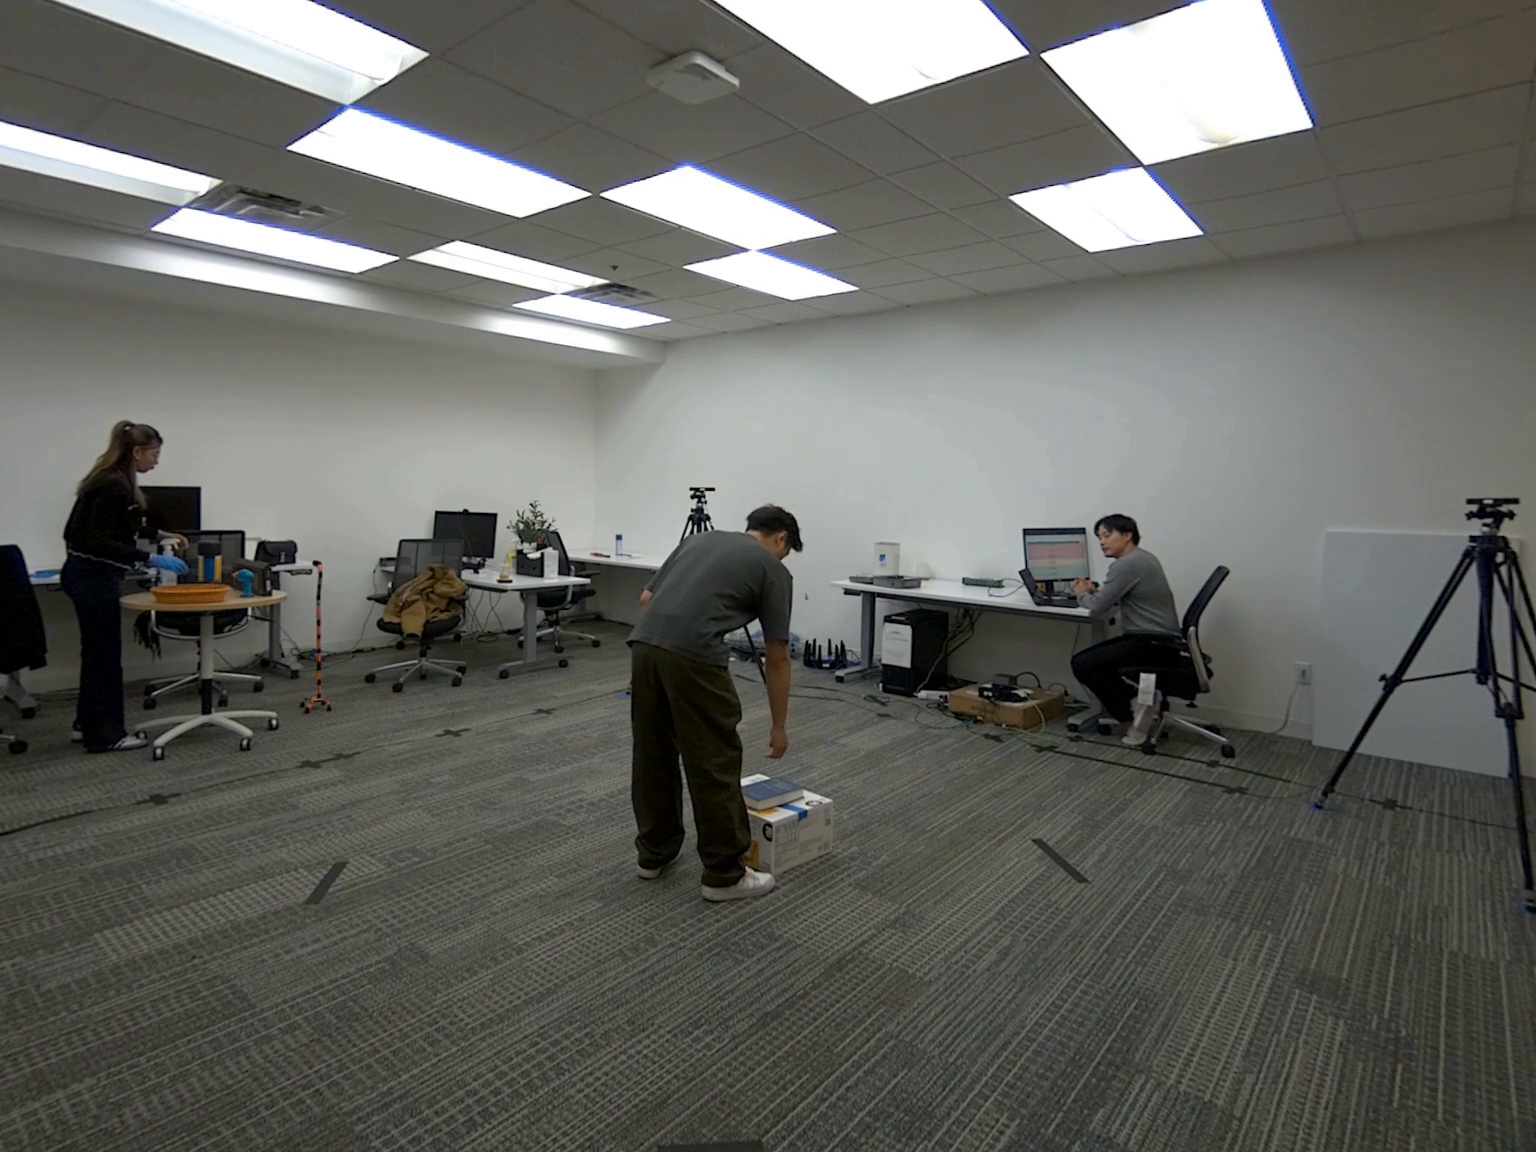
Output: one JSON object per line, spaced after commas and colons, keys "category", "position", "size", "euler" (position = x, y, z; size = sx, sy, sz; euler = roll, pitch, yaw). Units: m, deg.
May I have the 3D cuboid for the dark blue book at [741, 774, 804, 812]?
{"category": "dark blue book", "position": [-0.008, 0.837, 3.283], "size": [0.238, 0.045, 0.169], "euler": [-4, 7, -41]}
